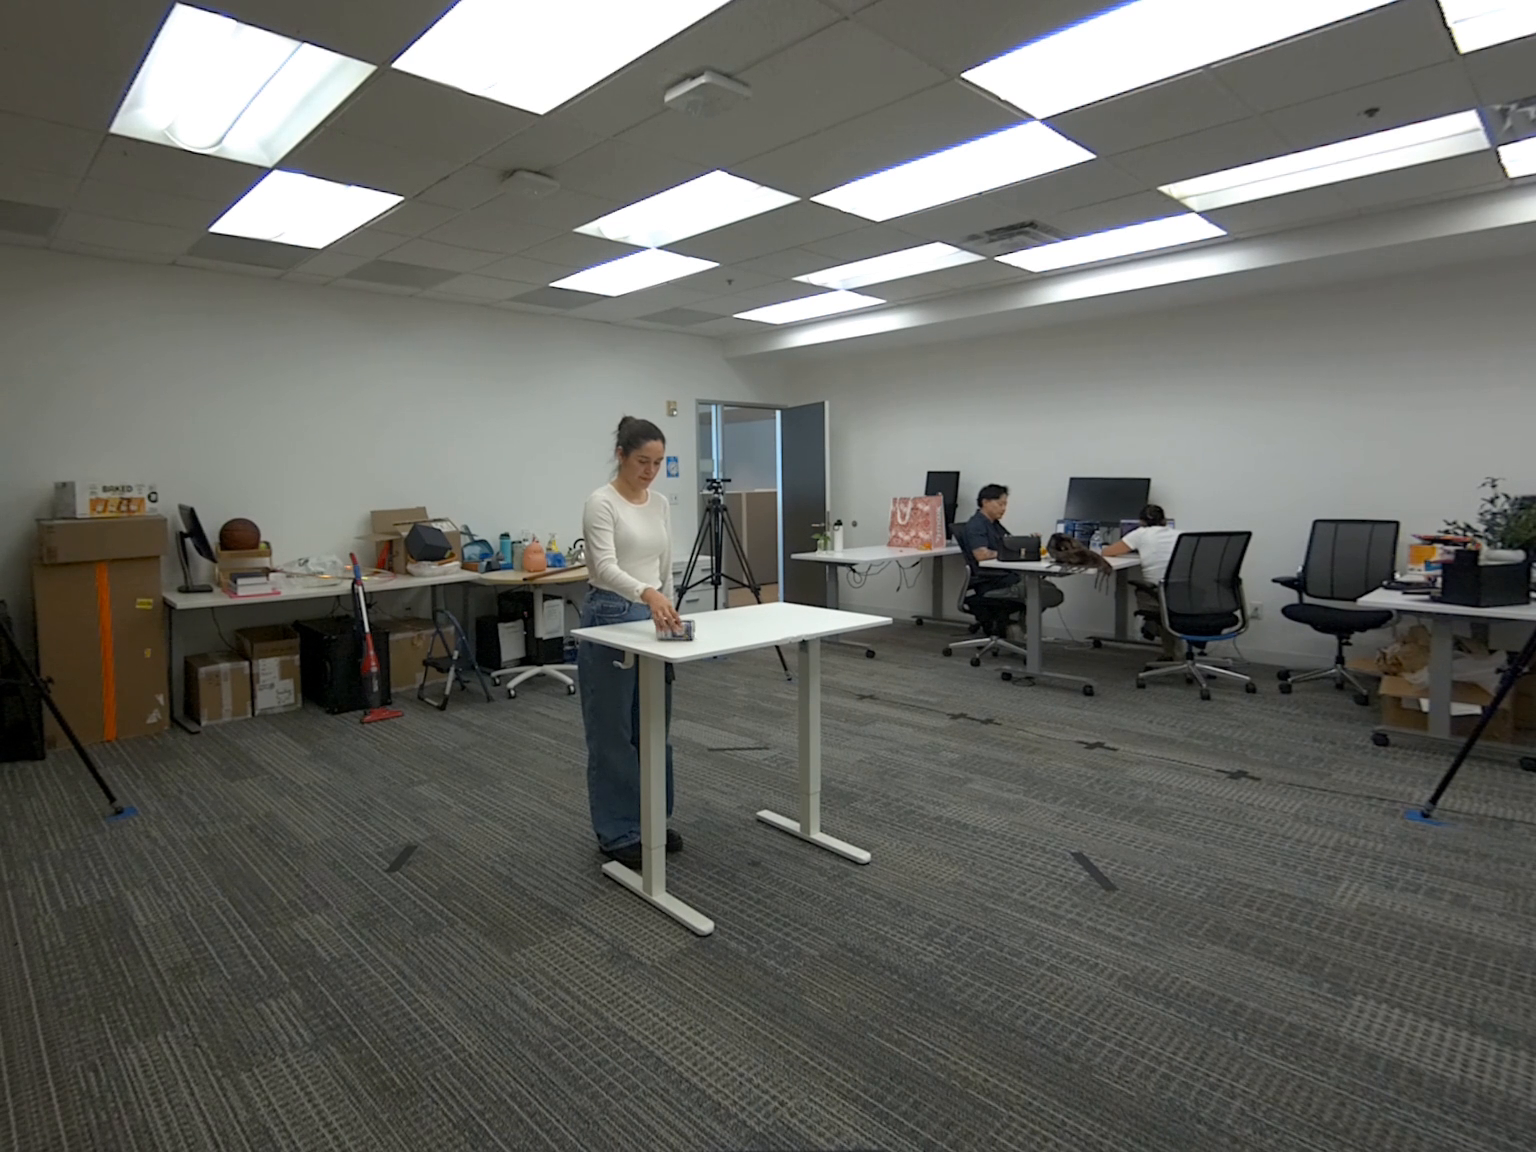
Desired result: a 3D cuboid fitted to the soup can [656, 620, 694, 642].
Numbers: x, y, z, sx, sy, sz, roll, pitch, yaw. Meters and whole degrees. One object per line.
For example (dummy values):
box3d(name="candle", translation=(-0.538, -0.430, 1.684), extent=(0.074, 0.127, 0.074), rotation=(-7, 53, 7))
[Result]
box3d(name="soup can", translation=(-0.298, 0.173, 2.742), extent=(0.067, 0.067, 0.121), rotation=(0, 4, 6))
